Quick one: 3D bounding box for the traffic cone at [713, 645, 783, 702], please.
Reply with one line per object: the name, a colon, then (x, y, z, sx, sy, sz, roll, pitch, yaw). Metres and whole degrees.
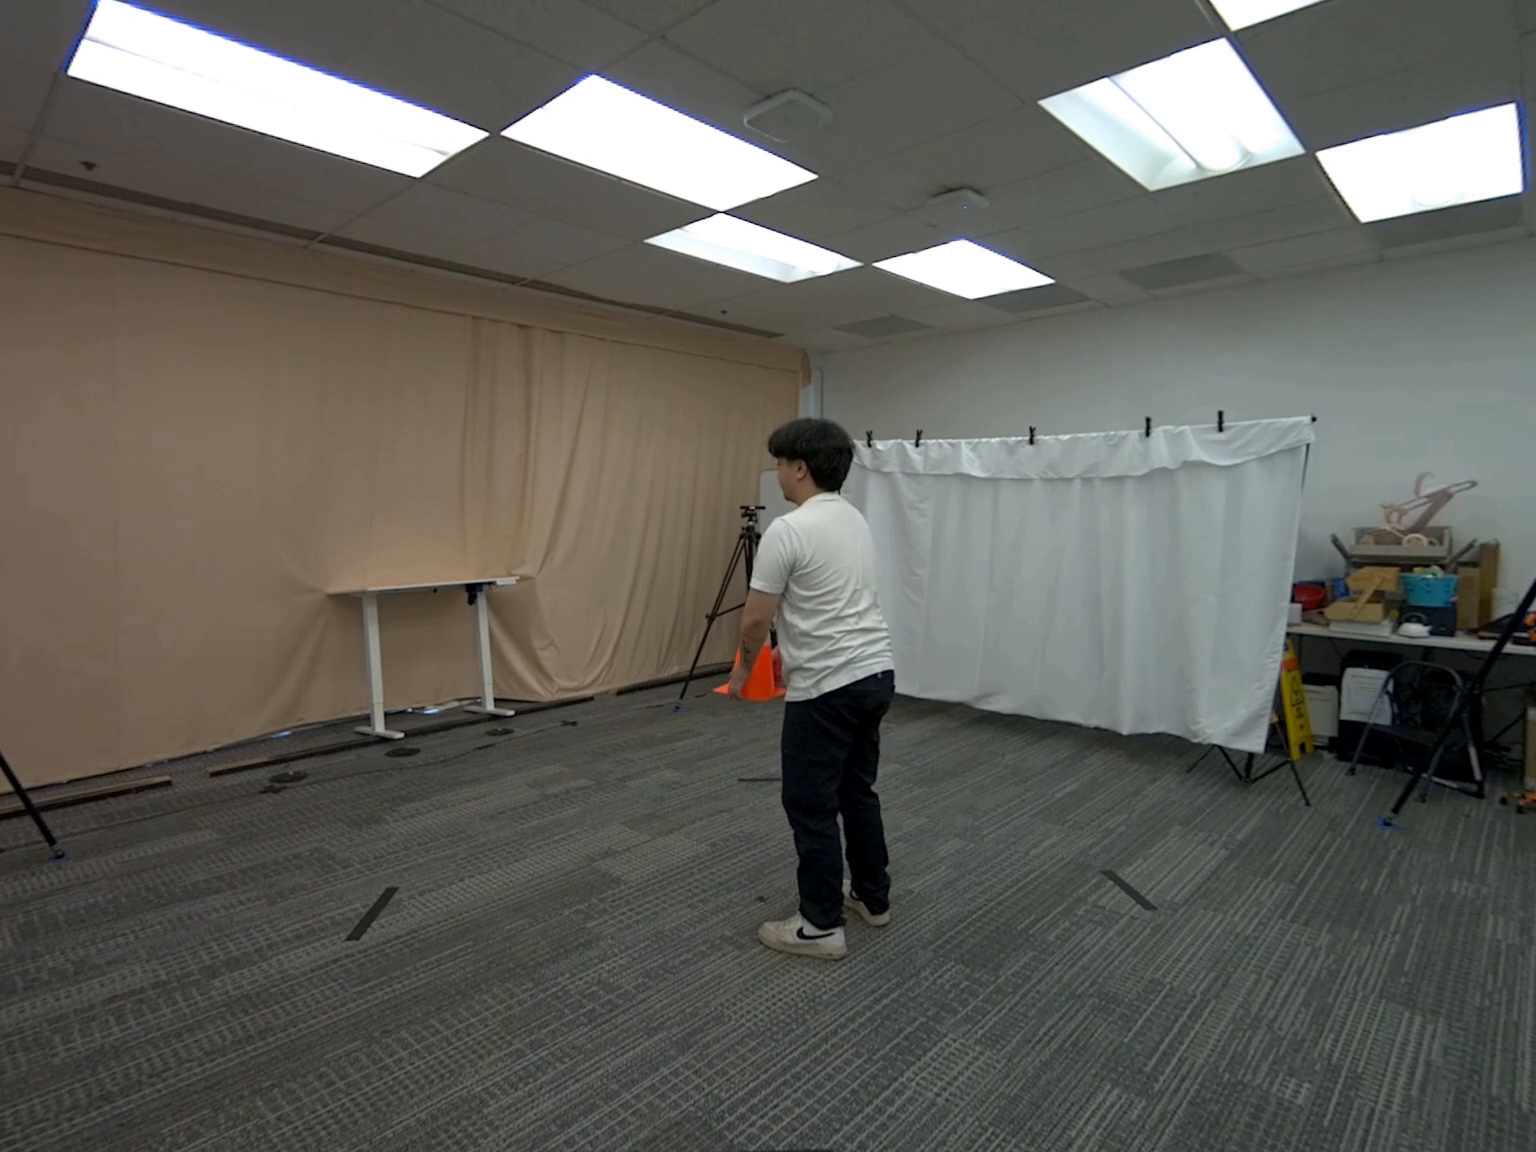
traffic cone: (-0.038, 0.217, 2.885, 0.210, 0.382, 0.199, 10, 10, 41)
